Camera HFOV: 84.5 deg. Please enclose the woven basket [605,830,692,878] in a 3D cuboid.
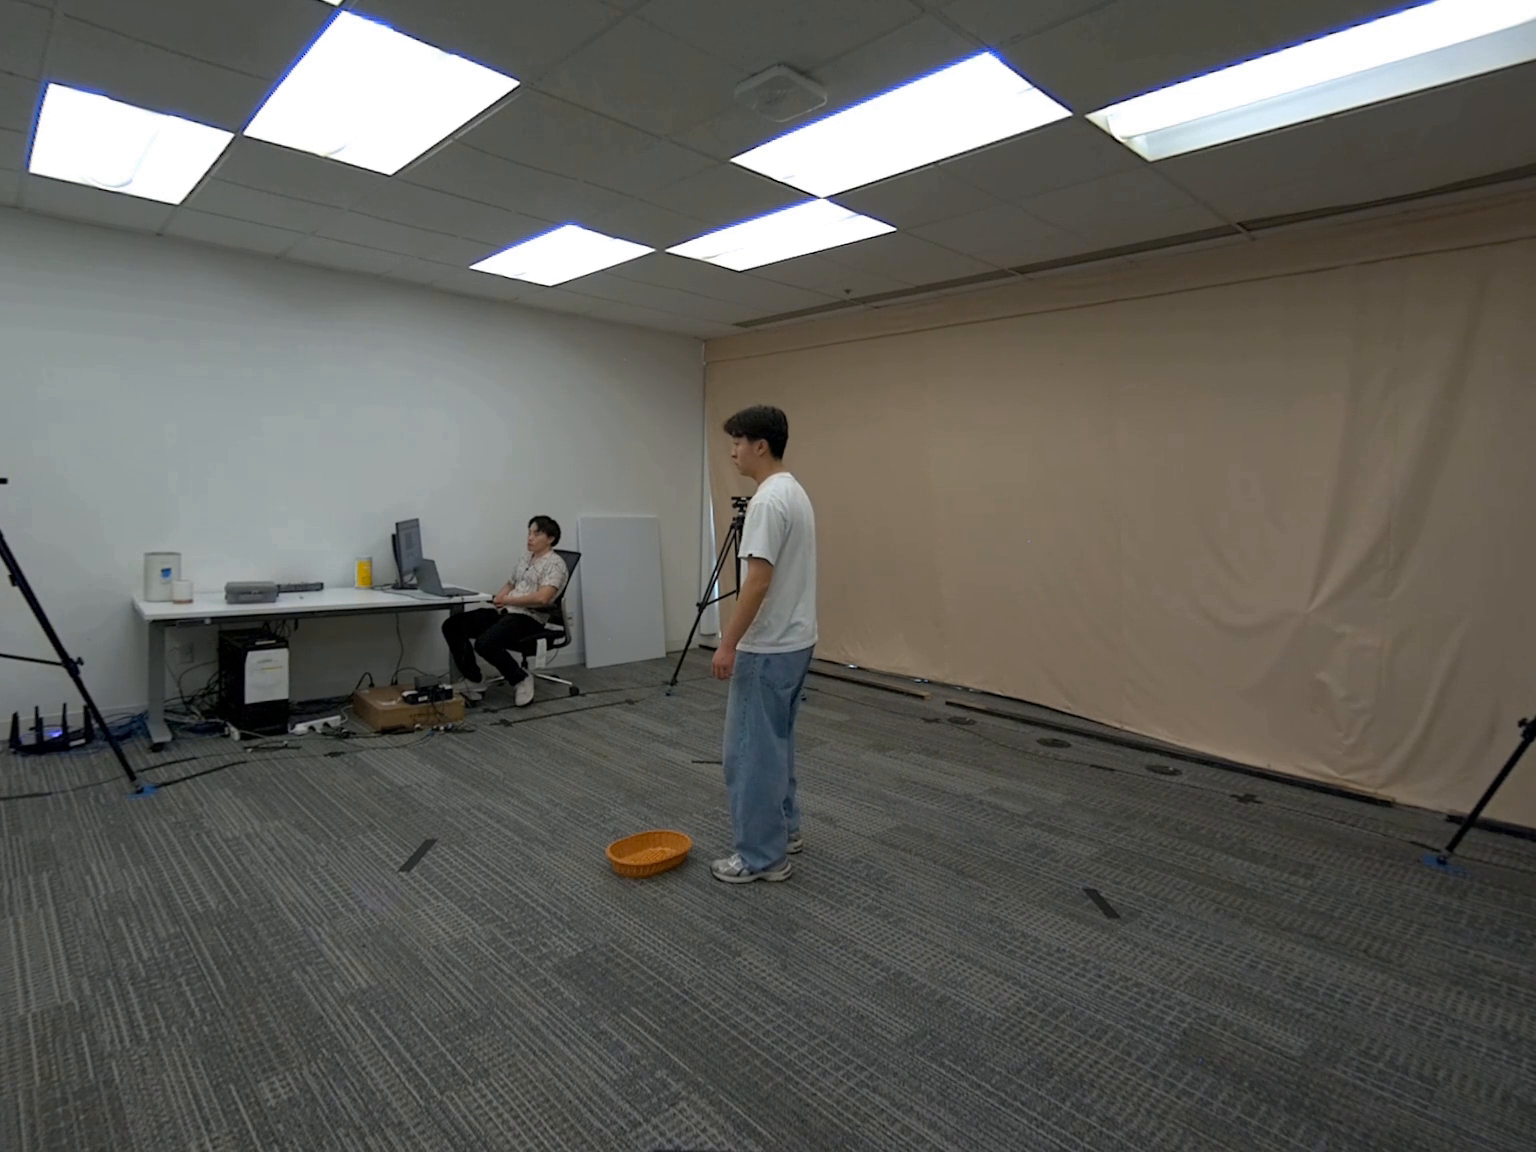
[{"bbox_3d":[-0.456,1.051,3.186,0.342,0.073,0.259,-4,8,-45],"label":"woven basket"}]
